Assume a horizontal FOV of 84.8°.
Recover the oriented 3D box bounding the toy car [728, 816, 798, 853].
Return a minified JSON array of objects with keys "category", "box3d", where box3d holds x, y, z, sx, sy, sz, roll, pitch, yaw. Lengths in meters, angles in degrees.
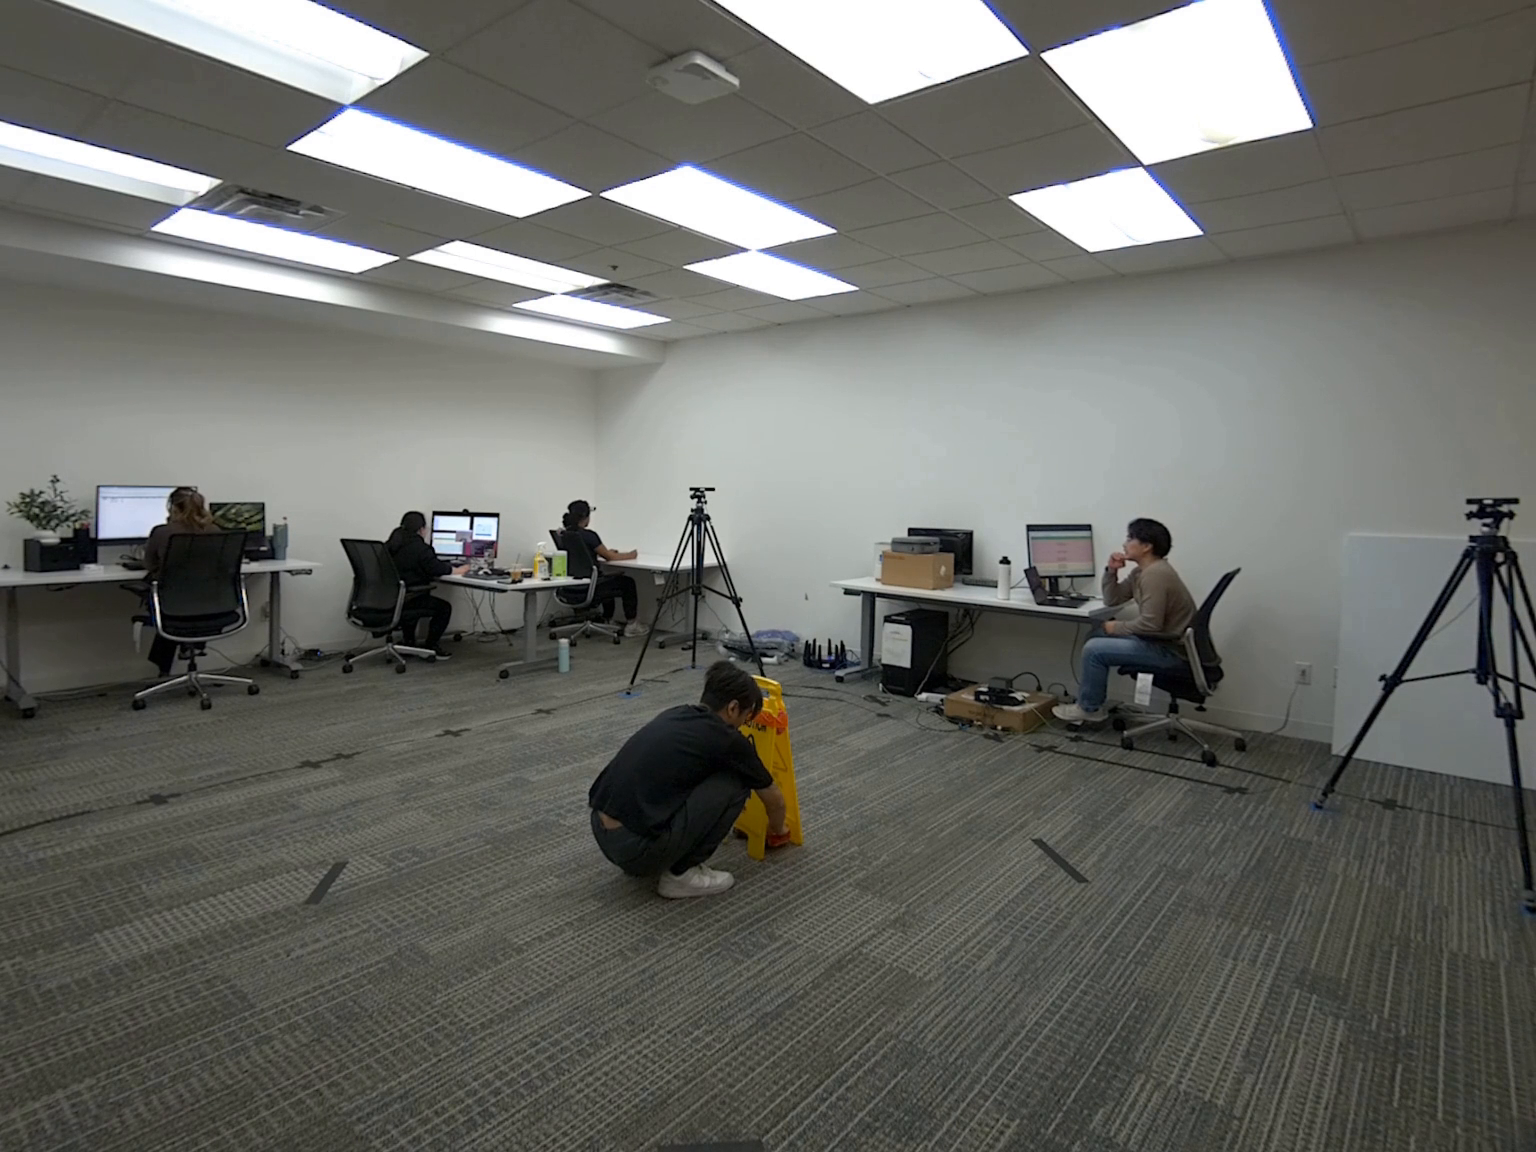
[{"category":"toy car","box3d":[-0.027,1.024,3.350,0.126,0.084,0.261,-2,-6,-44]}]
